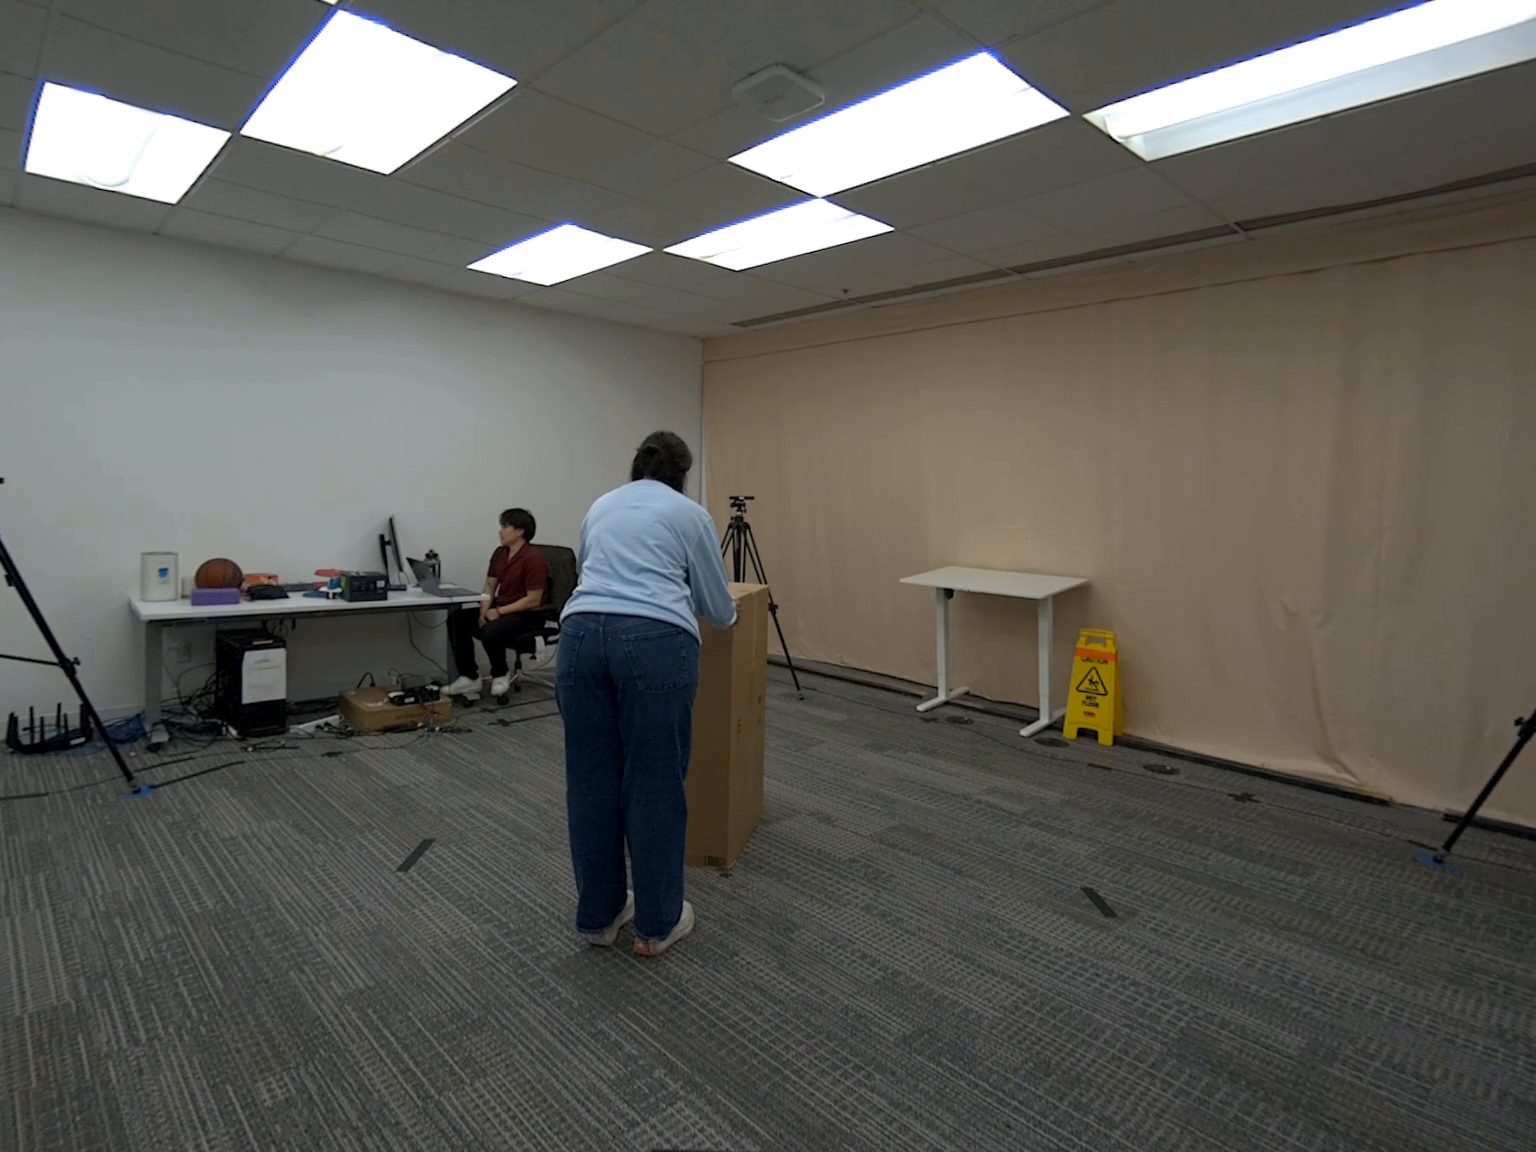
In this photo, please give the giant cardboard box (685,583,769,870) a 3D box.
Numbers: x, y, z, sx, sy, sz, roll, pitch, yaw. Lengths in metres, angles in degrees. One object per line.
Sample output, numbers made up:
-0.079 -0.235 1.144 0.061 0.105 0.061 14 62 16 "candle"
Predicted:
-0.278 0.564 3.439 0.431 1.023 0.572 3 4 13 "giant cardboard box"
